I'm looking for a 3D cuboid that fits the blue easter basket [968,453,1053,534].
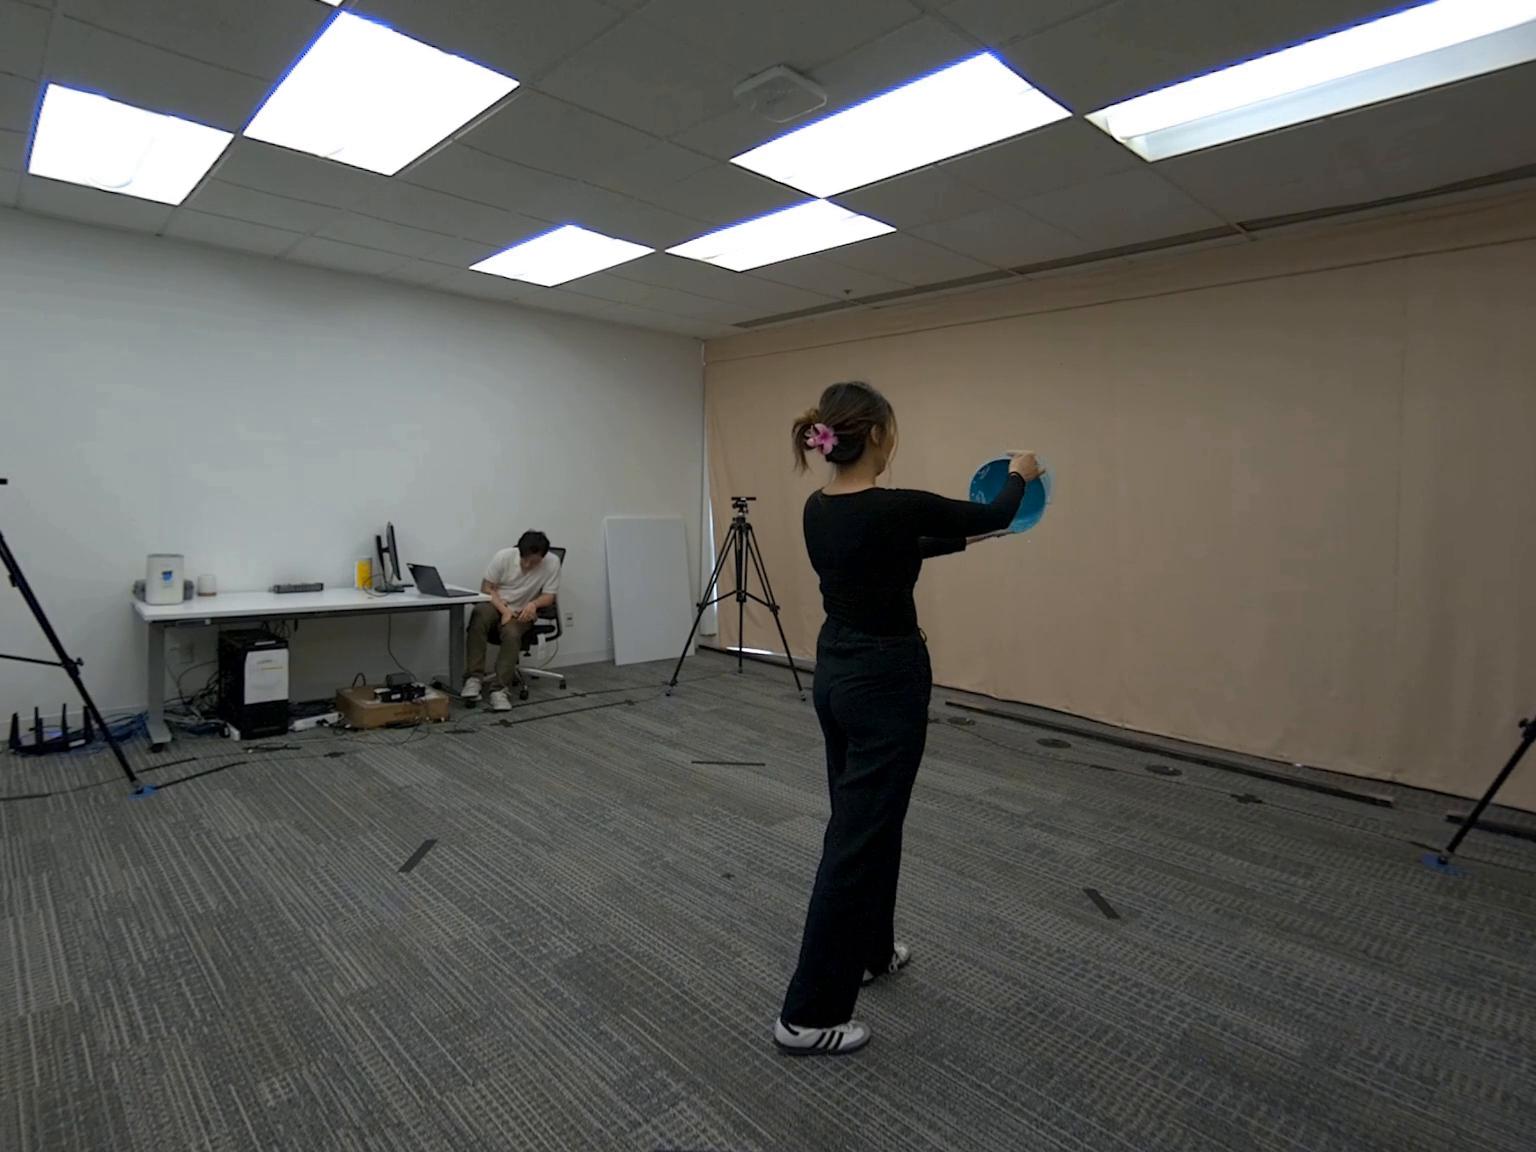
[{"bbox_3d":[0.750,-0.261,2.570,0.249,0.241,0.154,4,18,35],"label":"blue easter basket"}]
